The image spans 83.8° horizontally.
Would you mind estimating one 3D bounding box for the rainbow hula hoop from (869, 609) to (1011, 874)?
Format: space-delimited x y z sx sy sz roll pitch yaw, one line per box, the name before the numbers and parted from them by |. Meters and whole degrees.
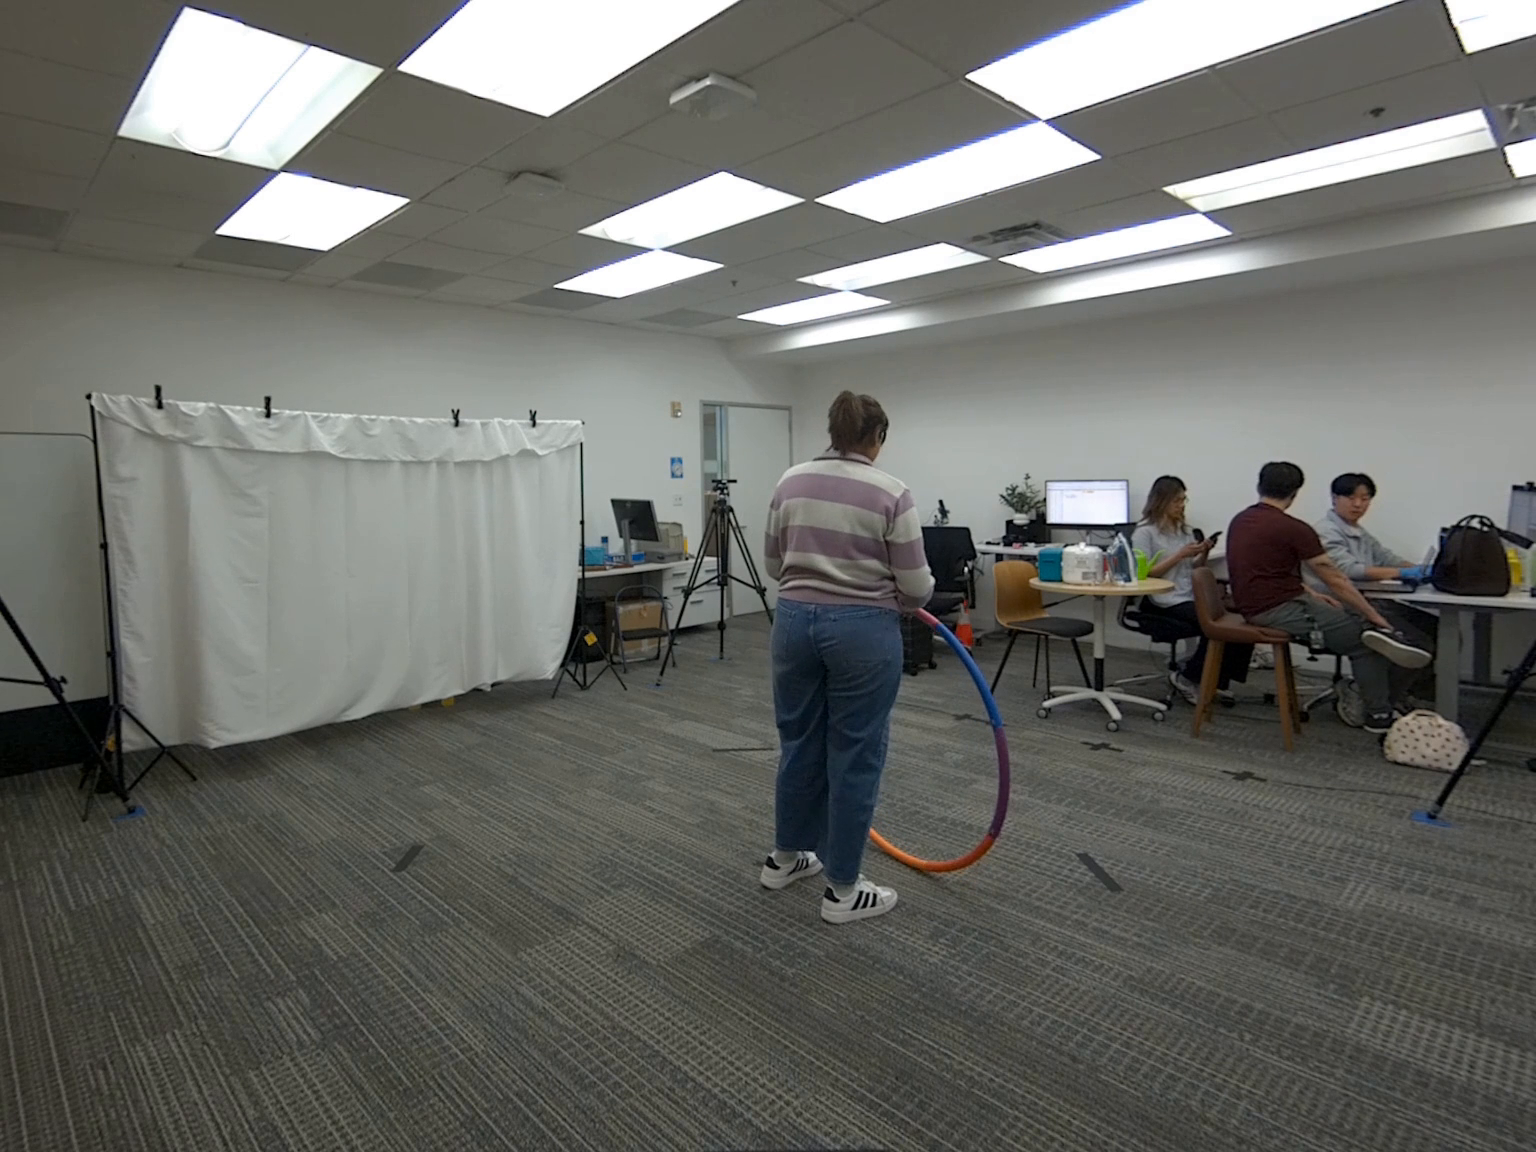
rainbow hula hoop | 0.455 0.558 3.061 0.050 0.980 1.014 -7 7 -33
